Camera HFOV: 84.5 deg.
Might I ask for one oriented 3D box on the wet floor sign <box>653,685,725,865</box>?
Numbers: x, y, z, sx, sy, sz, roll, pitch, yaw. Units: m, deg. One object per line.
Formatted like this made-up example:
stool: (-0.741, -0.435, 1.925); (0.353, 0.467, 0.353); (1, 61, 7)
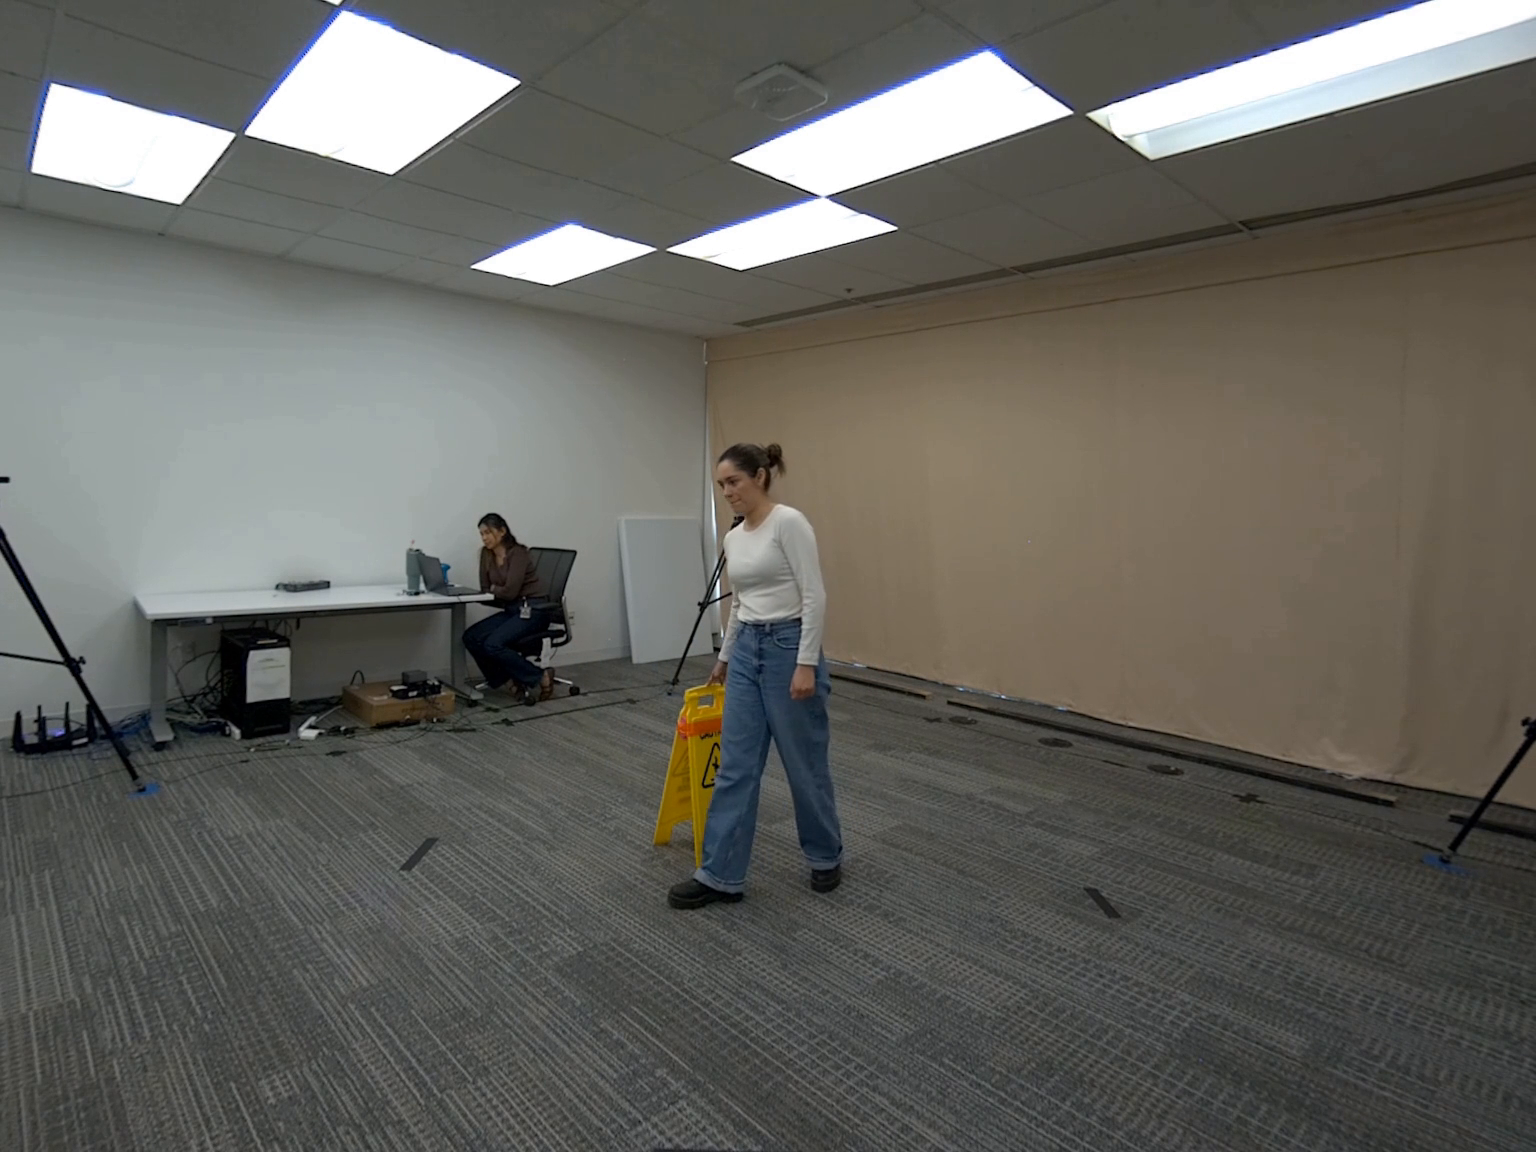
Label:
wet floor sign: (-0.261, 0.755, 3.323); (0.276, 0.645, 0.297); (-1, 3, -43)
